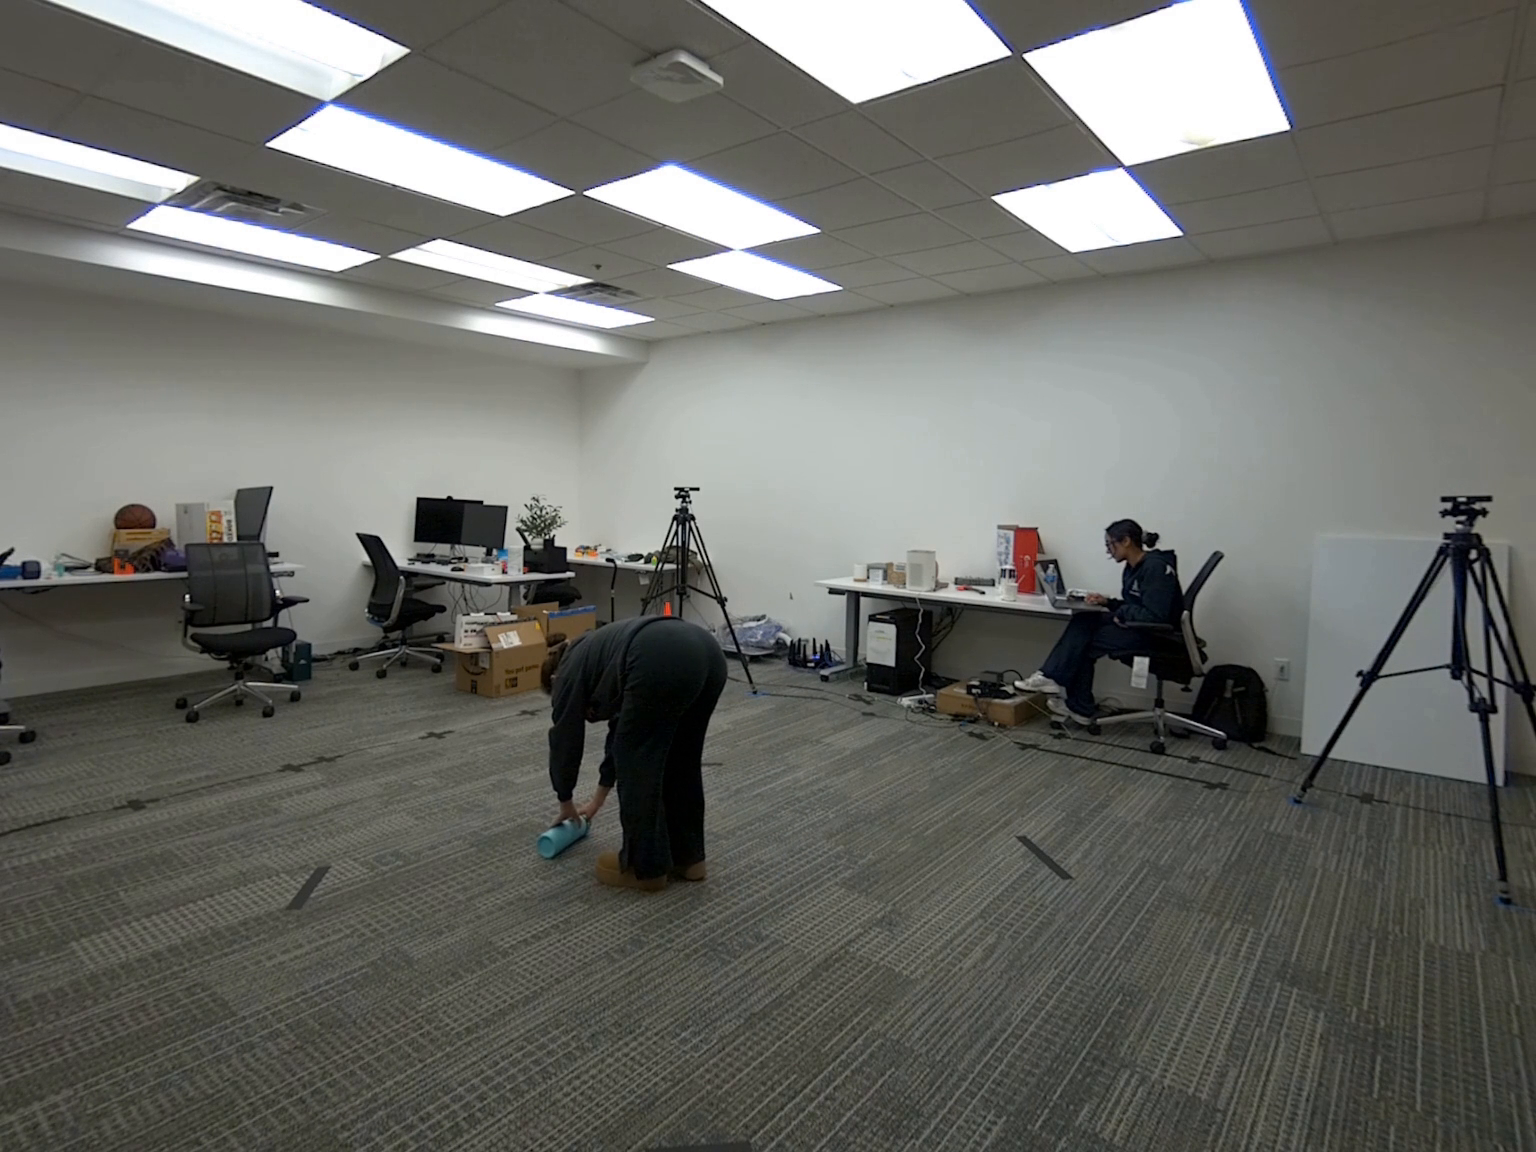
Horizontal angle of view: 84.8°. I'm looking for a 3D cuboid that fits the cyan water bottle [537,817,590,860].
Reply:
[{"bbox_3d":[-0.781,0.994,3.295,0.094,0.092,0.278,2,5,19],"label":"cyan water bottle"}]
